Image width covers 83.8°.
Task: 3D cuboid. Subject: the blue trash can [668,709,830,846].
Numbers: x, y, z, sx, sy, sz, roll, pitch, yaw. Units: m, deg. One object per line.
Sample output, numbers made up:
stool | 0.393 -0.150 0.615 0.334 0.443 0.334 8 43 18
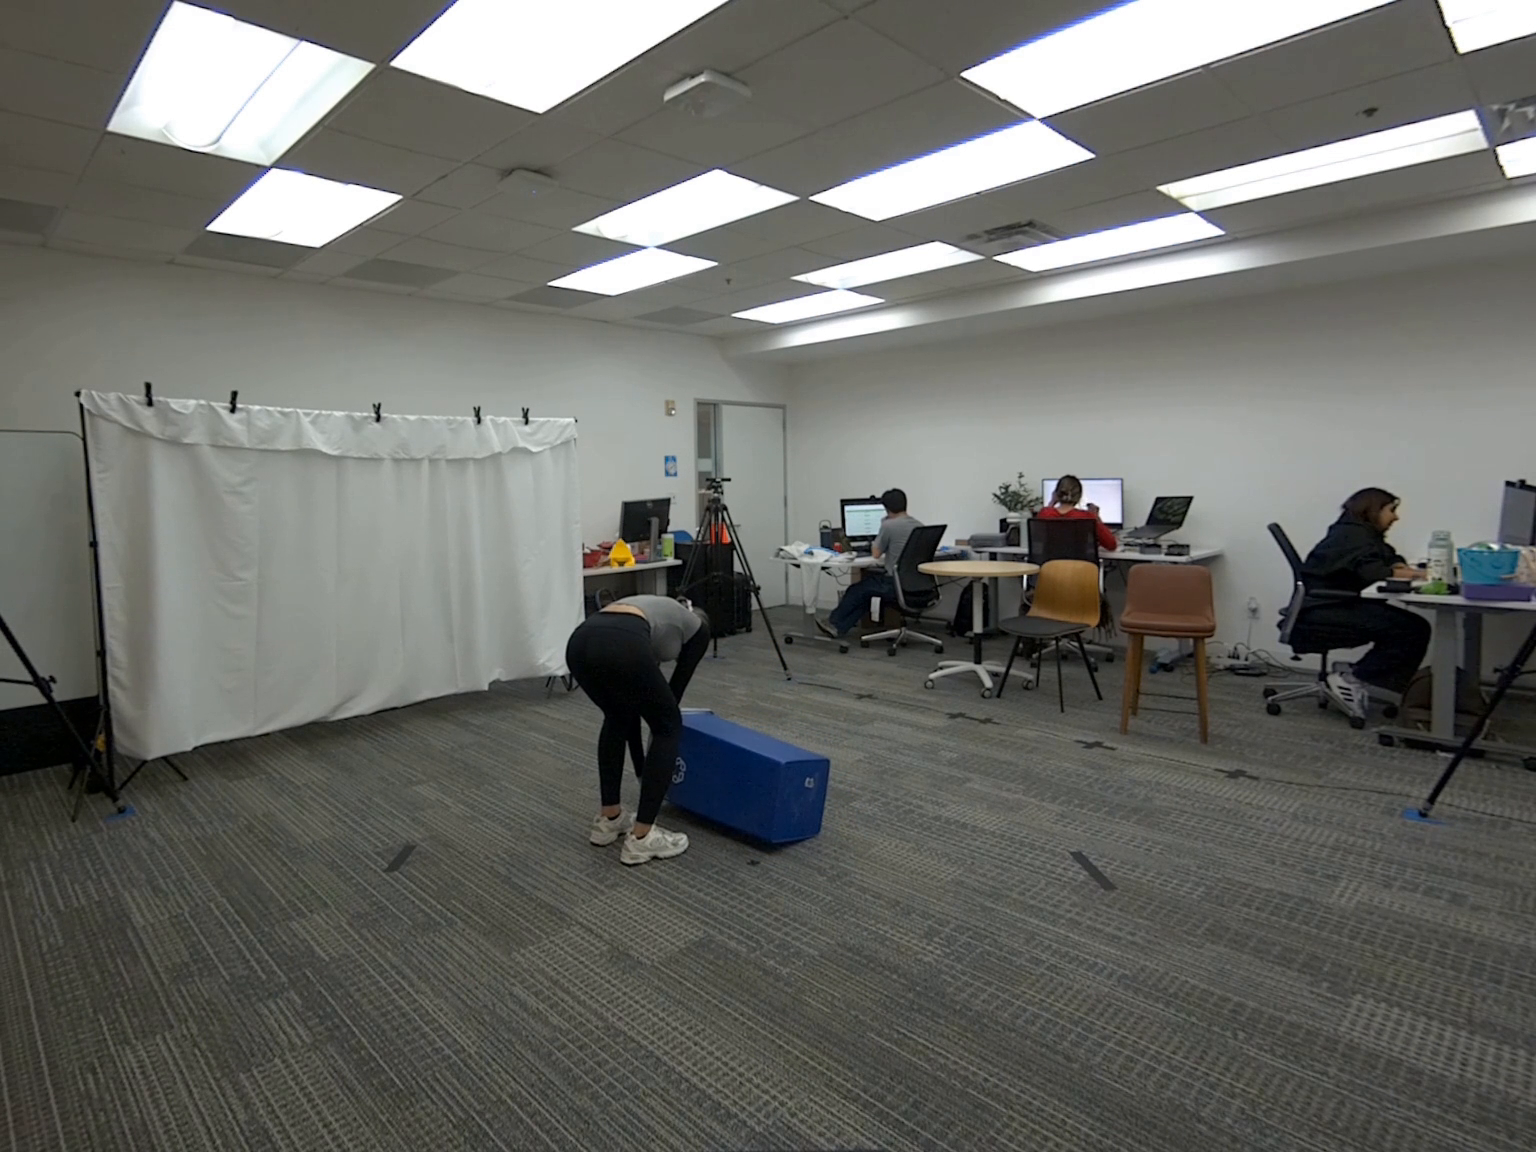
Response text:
blue trash can | -0.127 0.803 3.508 0.737 0.374 0.365 8 -1 43
